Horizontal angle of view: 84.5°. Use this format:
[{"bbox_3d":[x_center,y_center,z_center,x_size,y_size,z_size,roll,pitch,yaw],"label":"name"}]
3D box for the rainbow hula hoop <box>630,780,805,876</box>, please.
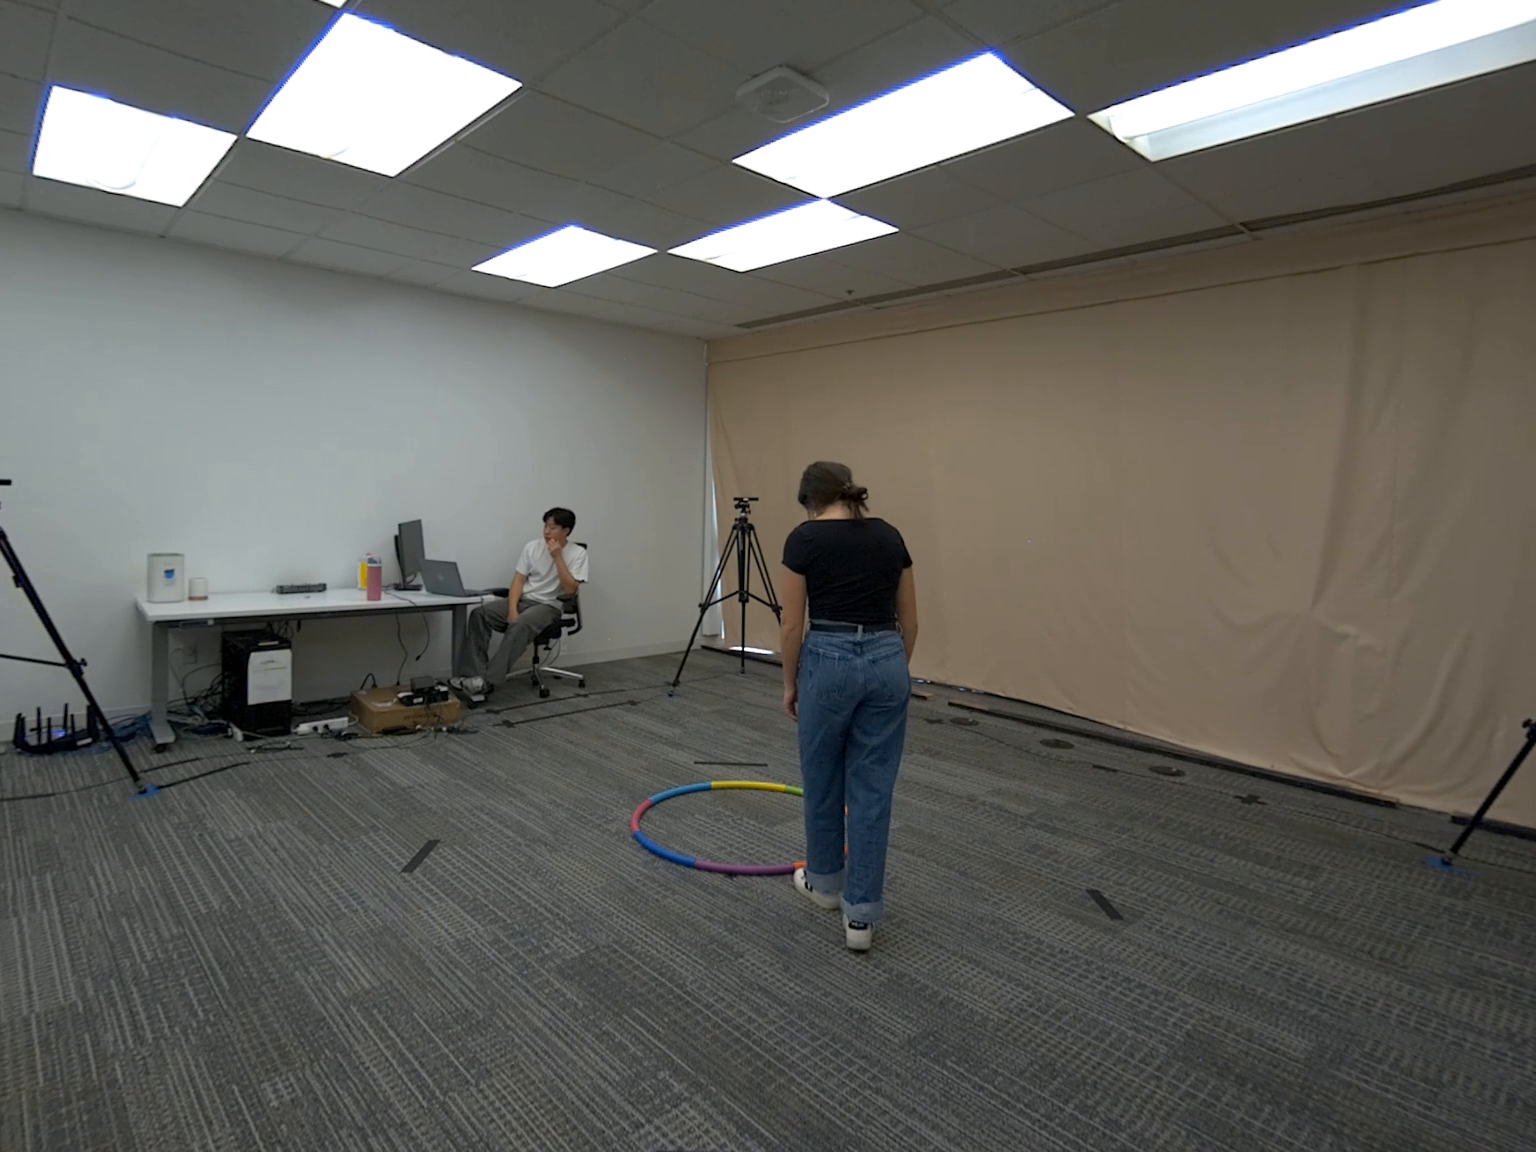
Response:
[{"bbox_3d":[-0.100,1.040,3.584,0.978,0.035,0.982,1,5,-1],"label":"rainbow hula hoop"}]
